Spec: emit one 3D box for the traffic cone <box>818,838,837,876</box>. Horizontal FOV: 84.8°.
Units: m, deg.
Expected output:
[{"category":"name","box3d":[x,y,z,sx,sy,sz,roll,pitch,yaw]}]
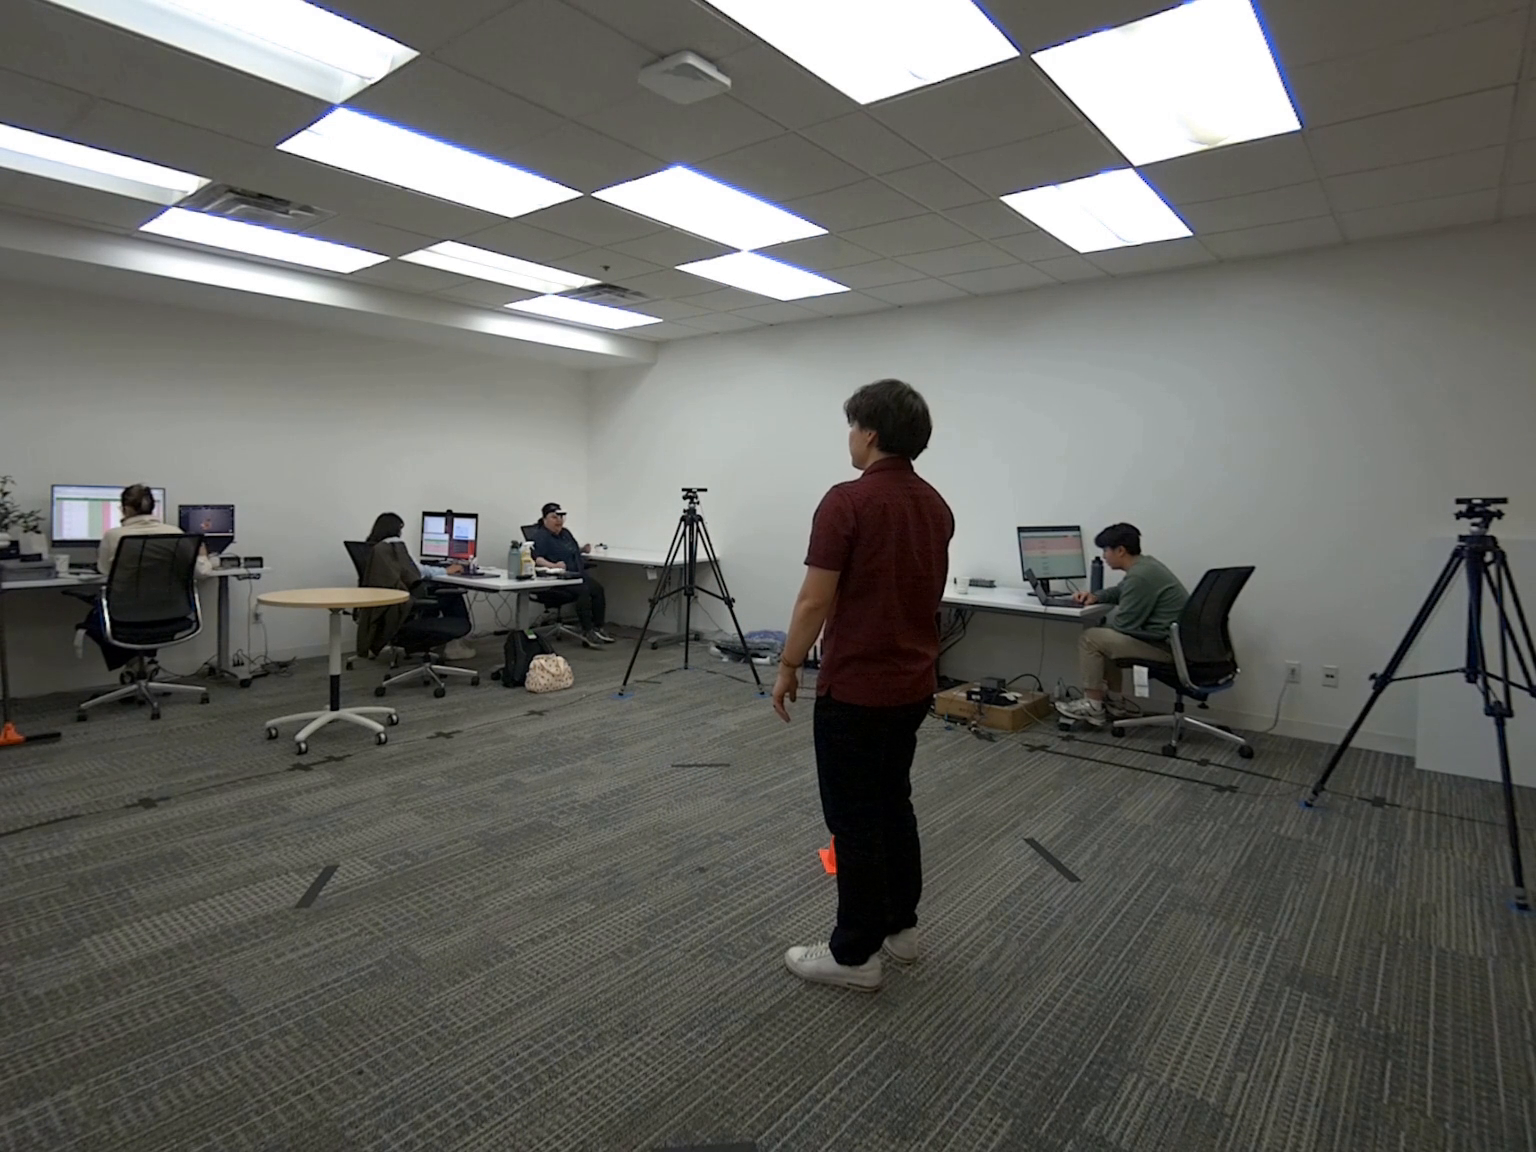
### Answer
[{"category":"traffic cone","box3d":[0.308,0.883,3.187,0.204,0.383,0.204,3,3,-3]}]
